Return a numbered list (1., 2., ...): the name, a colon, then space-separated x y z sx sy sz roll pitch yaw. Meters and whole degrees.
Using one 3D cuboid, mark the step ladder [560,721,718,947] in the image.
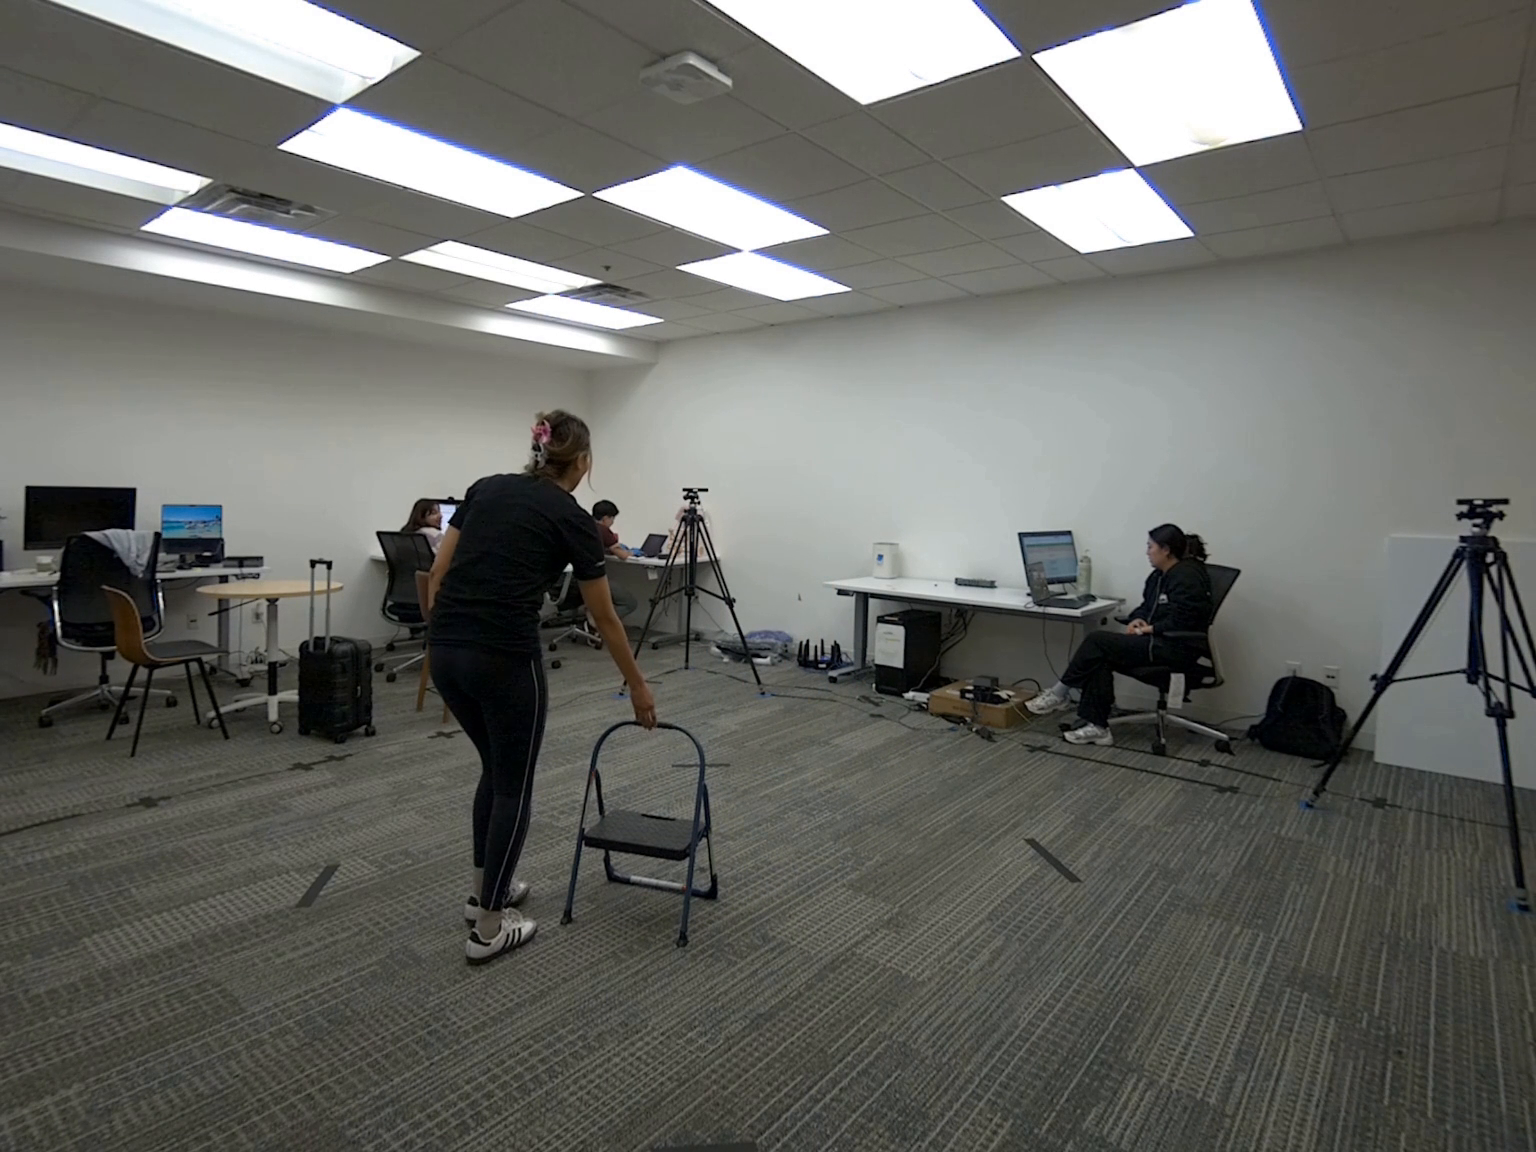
1. step ladder: -0.417 0.795 2.788 0.439 0.604 0.344 2 4 16
